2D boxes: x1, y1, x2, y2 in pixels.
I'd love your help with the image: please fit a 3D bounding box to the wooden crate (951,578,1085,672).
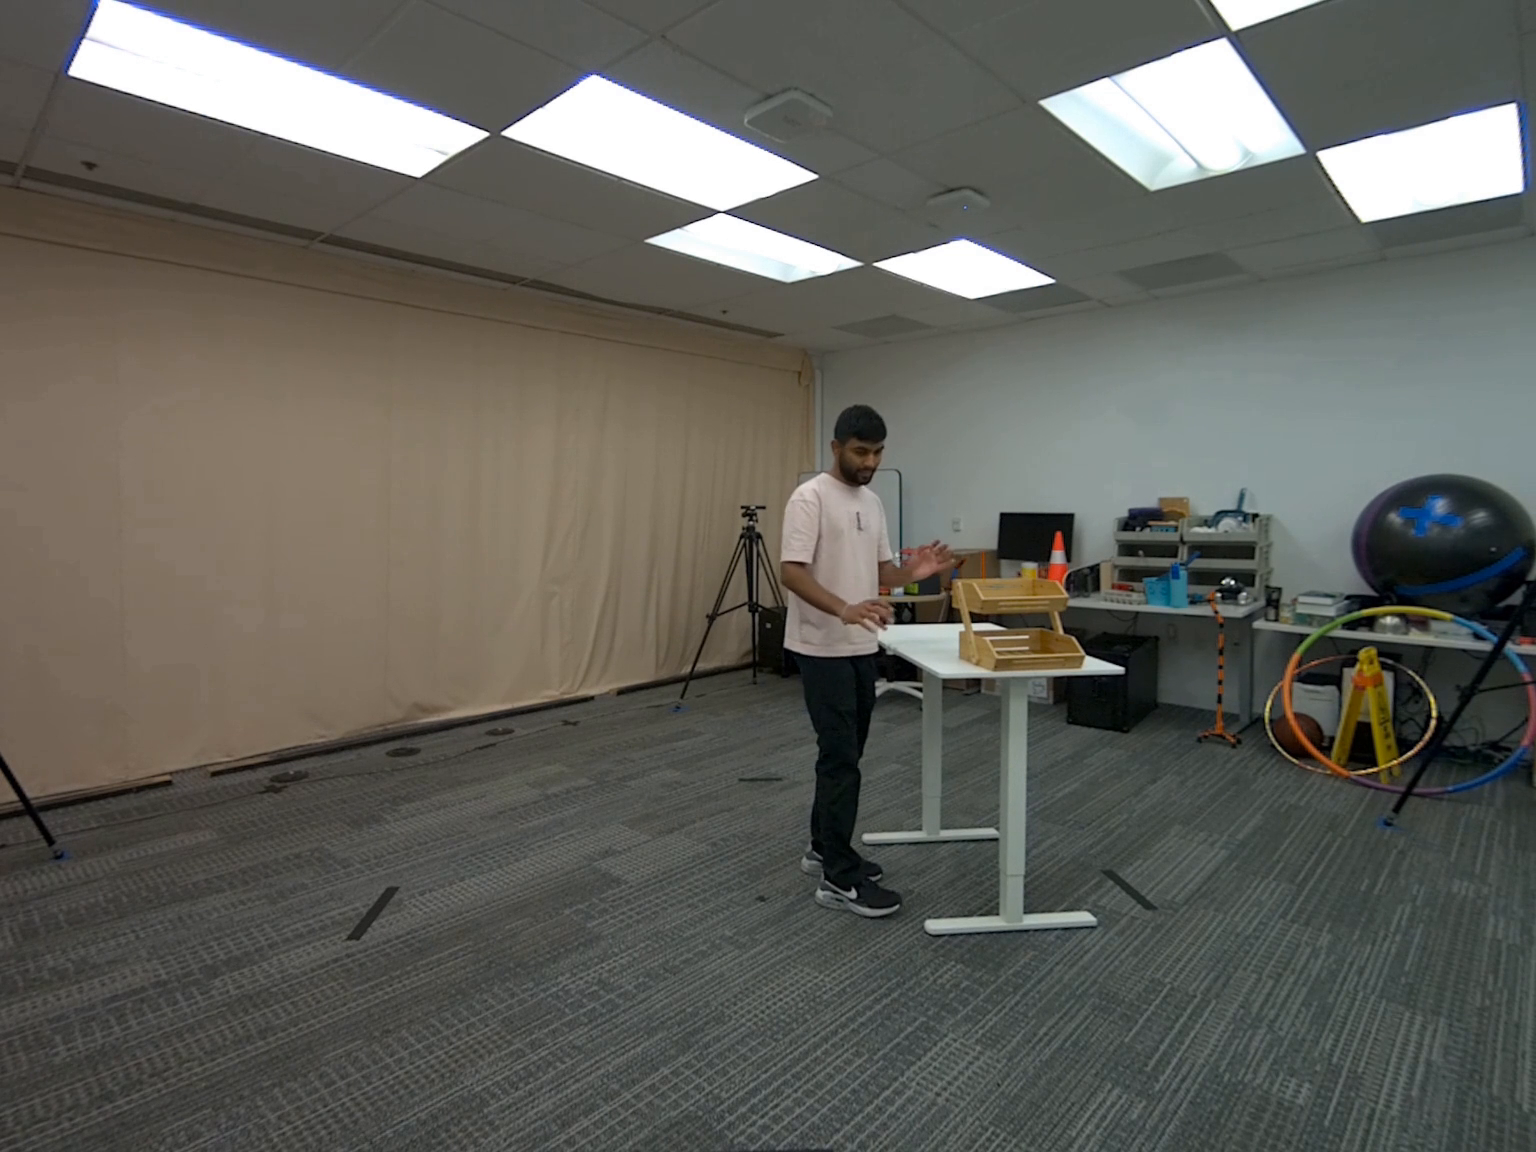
[{"bbox_3d":[0.819,0.155,2.722,0.321,0.273,0.306,0,4,-10],"label":"wooden crate"}]
